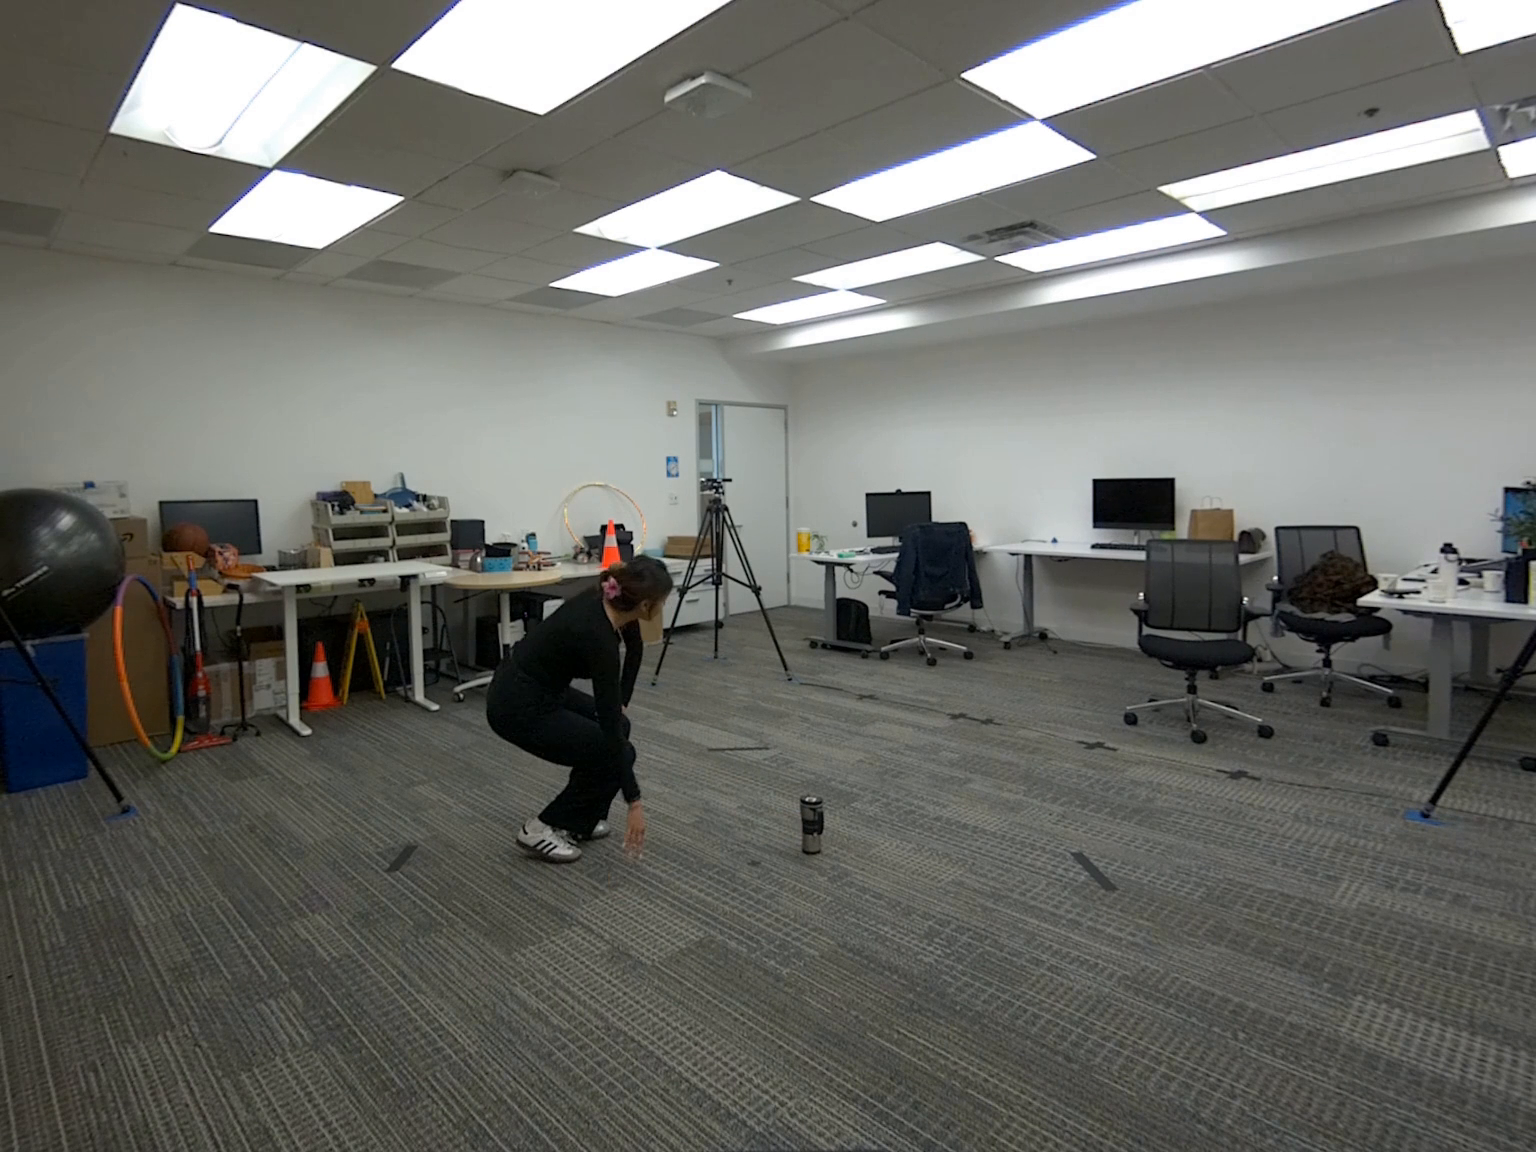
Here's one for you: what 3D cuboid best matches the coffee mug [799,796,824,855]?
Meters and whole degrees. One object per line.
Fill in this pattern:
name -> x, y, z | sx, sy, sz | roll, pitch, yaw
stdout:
coffee mug -> 0.152, 0.926, 3.172 | 0.089, 0.203, 0.120 | 3, 1, 18
